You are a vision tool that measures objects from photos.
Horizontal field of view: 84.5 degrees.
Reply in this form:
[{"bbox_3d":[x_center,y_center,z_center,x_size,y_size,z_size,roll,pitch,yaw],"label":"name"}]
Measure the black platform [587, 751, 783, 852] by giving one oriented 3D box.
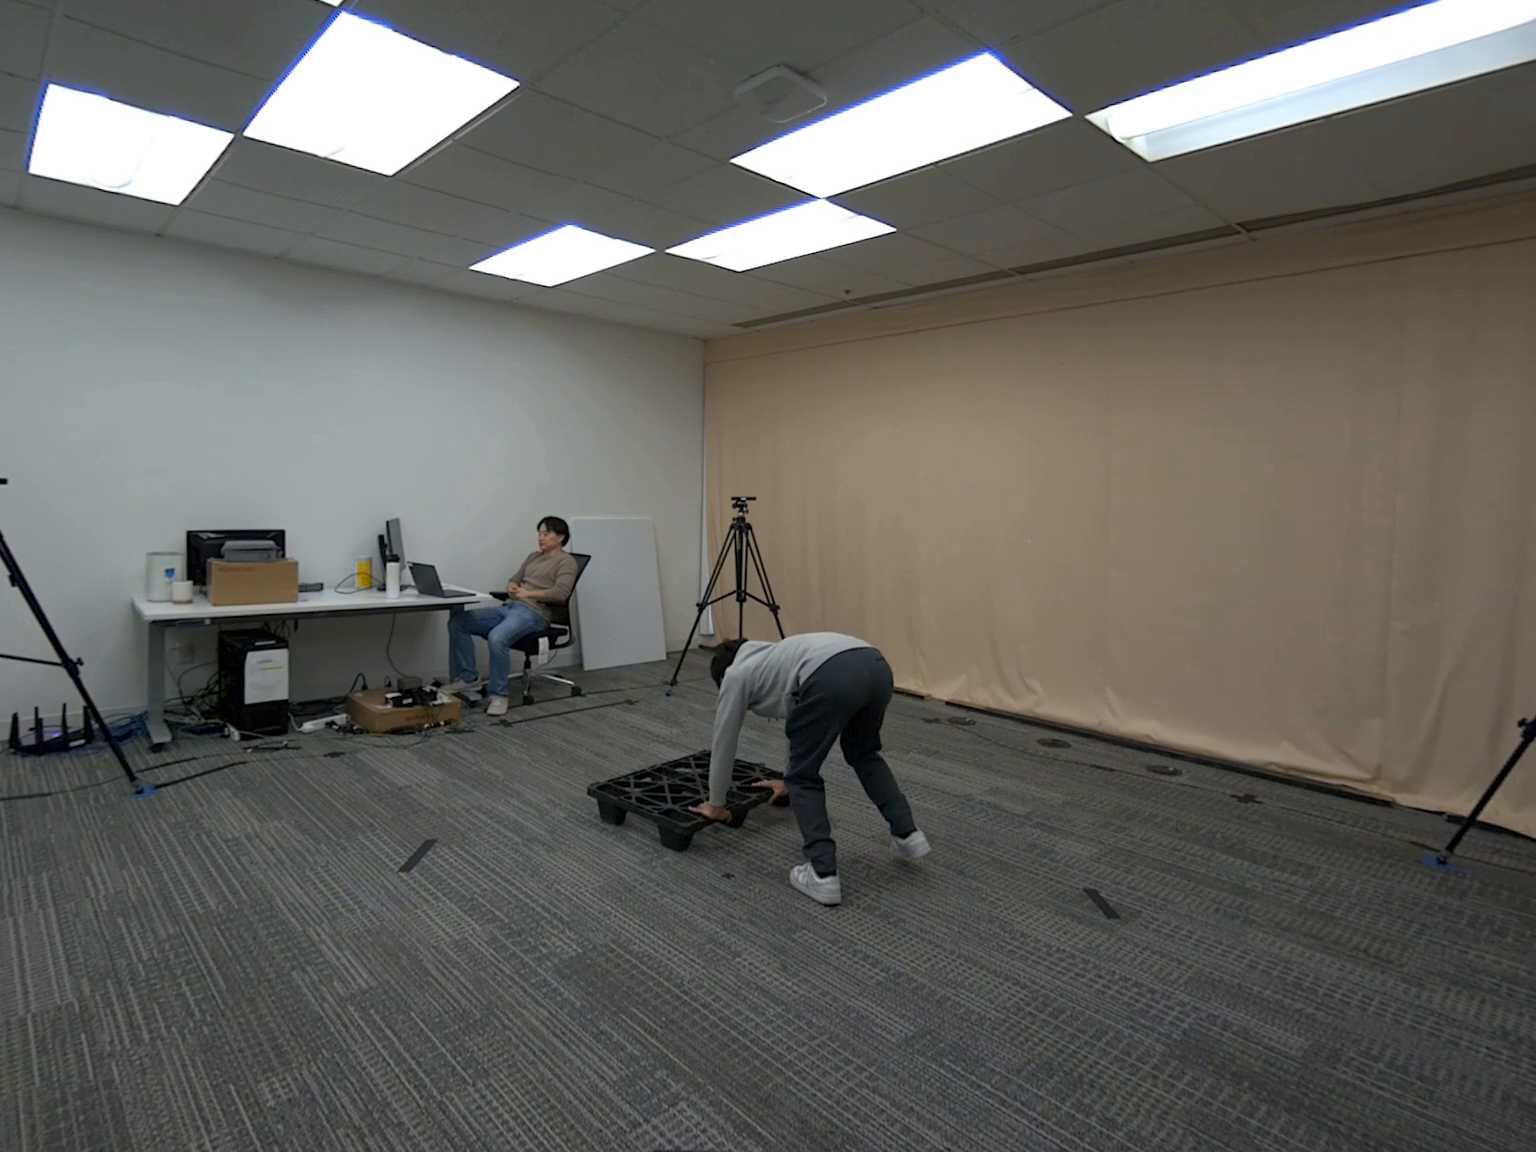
[{"bbox_3d":[-0.317,0.977,3.719,0.620,0.143,0.787,6,6,39],"label":"black platform"}]
